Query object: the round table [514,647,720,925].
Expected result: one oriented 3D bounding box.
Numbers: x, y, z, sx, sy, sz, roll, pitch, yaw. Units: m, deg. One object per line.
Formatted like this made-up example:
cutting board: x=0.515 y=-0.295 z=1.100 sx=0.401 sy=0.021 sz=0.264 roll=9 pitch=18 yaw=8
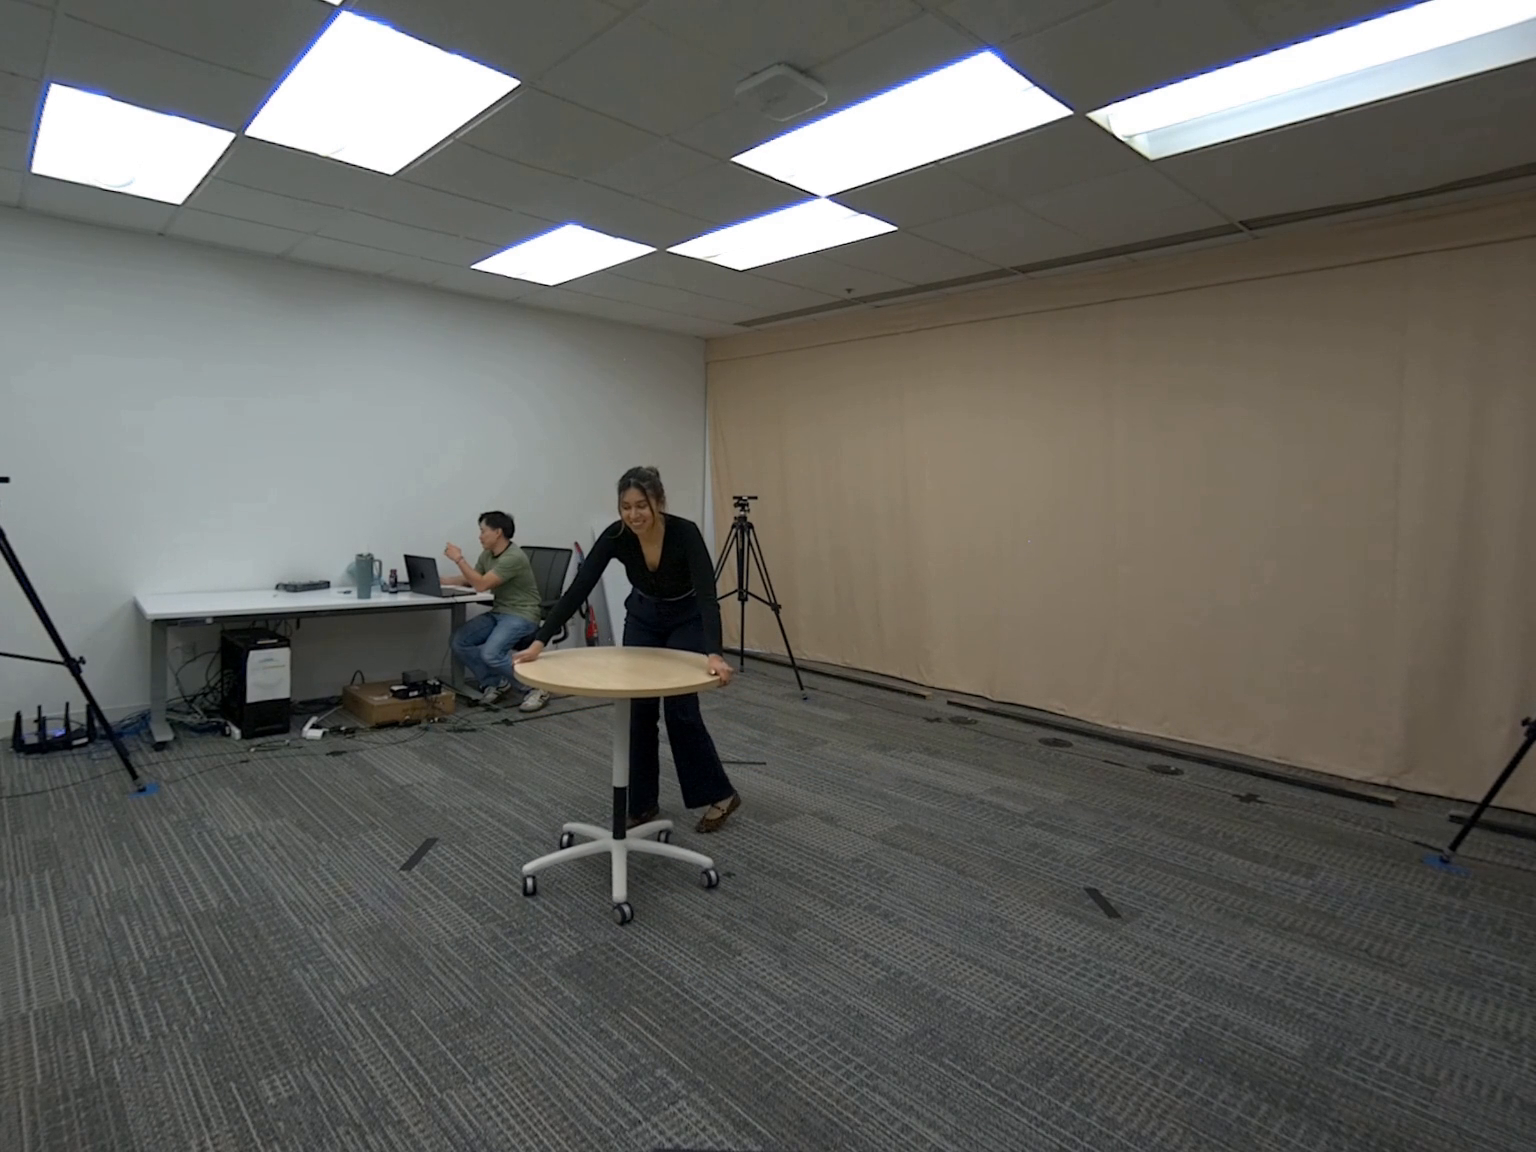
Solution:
round table: x=-0.540 y=0.716 z=3.051 sx=0.763 sy=0.792 sz=0.766 roll=1 pitch=4 yaw=-1
